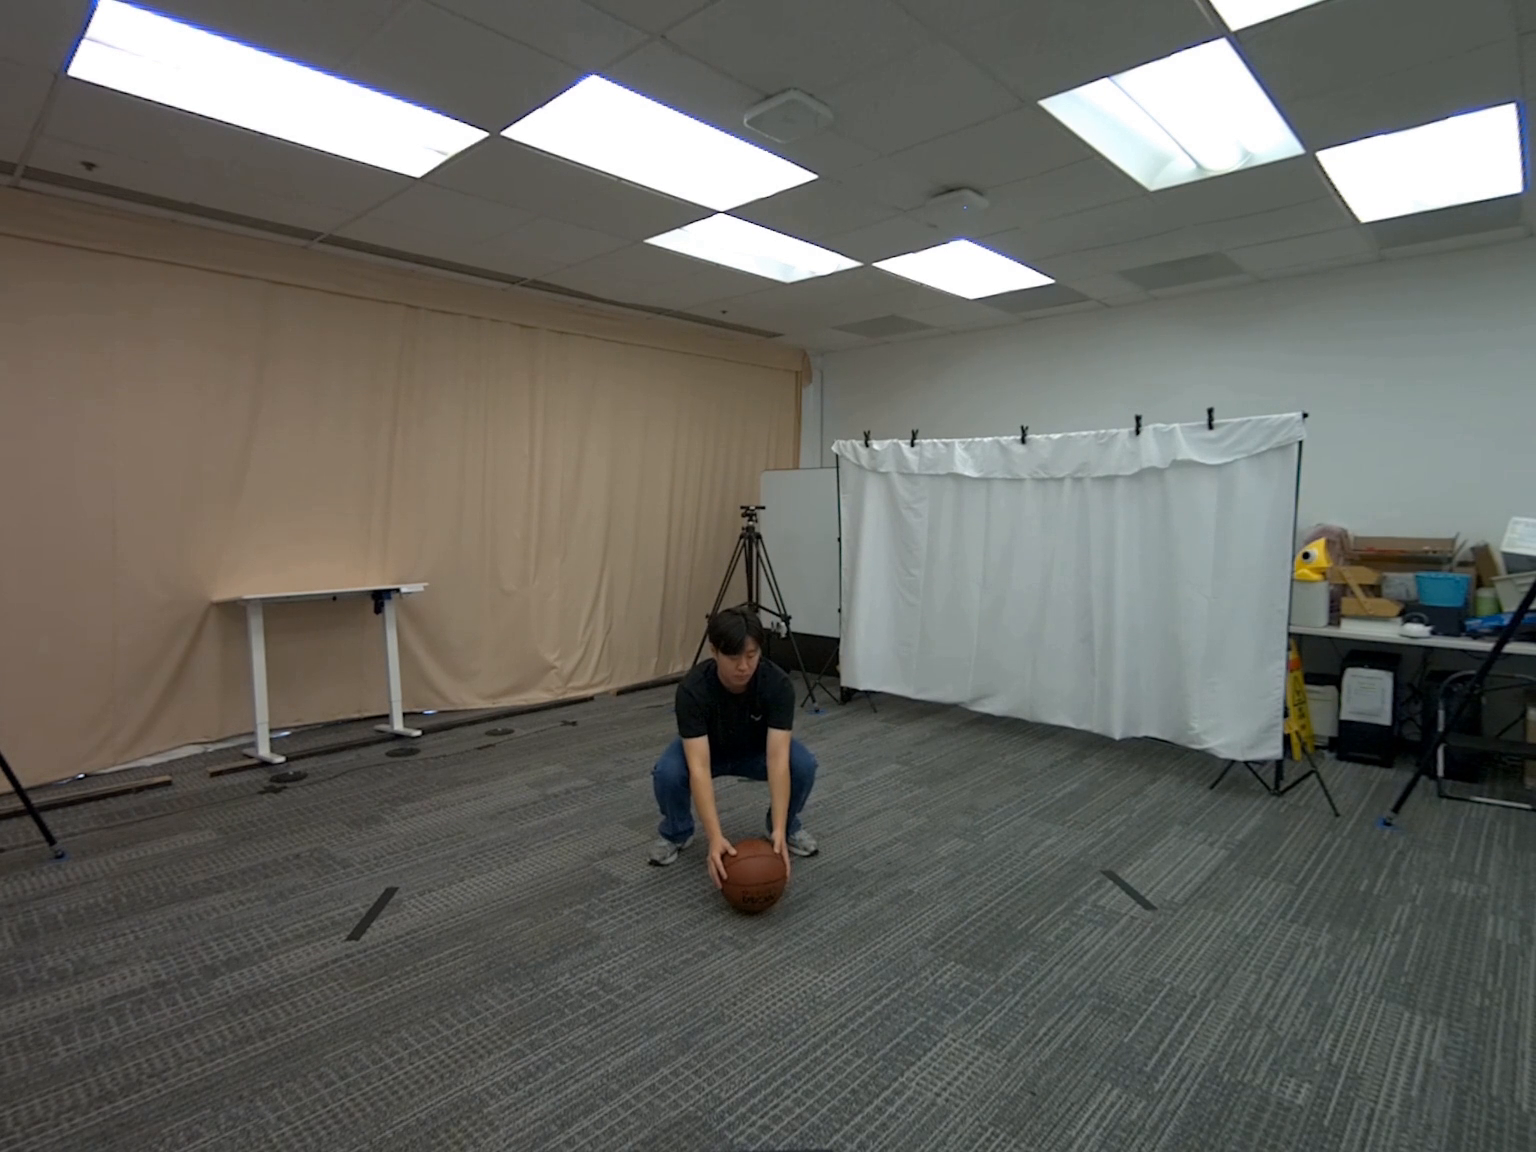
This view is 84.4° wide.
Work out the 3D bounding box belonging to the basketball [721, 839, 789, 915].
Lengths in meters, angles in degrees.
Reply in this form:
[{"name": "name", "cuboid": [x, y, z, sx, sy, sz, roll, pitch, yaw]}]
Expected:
[{"name": "basketball", "cuboid": [-0.052, 1.016, 2.899, 0.236, 0.235, 0.237, 0, 4, -2]}]
